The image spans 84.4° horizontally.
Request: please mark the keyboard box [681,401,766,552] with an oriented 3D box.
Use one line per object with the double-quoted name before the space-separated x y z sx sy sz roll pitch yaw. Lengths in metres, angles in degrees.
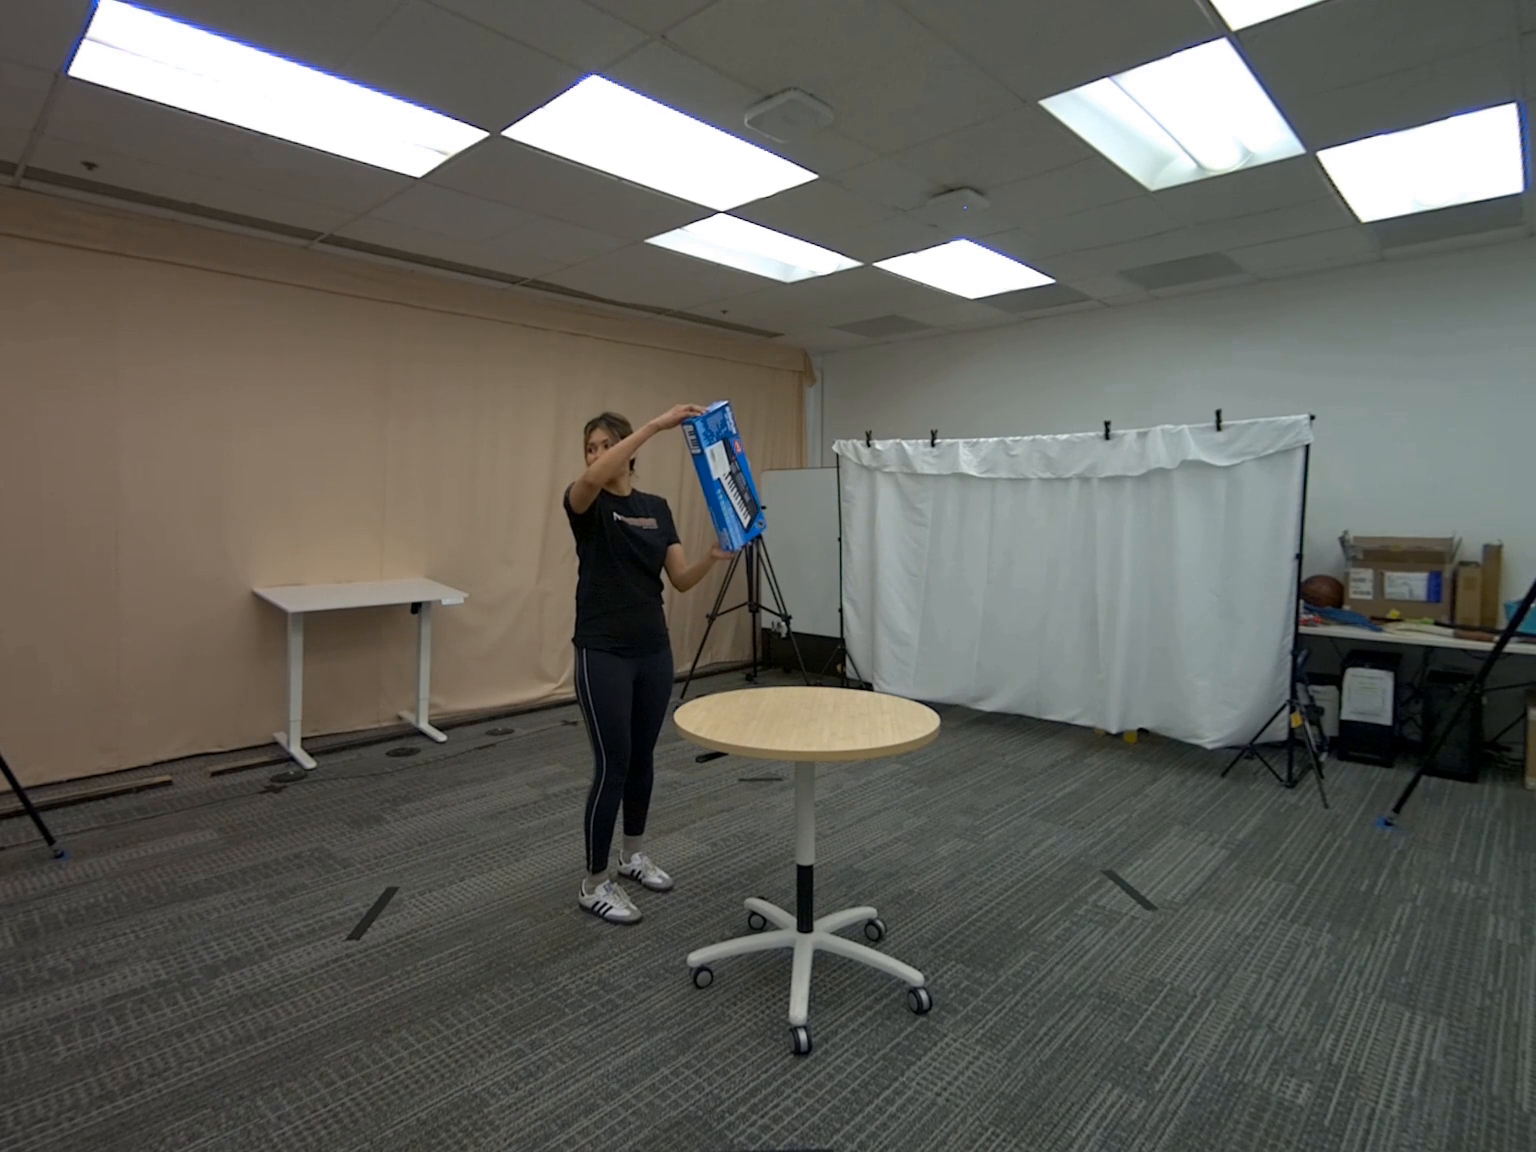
"keyboard box" -0.132 -0.307 2.644 0.061 0.429 0.173 3 29 42
